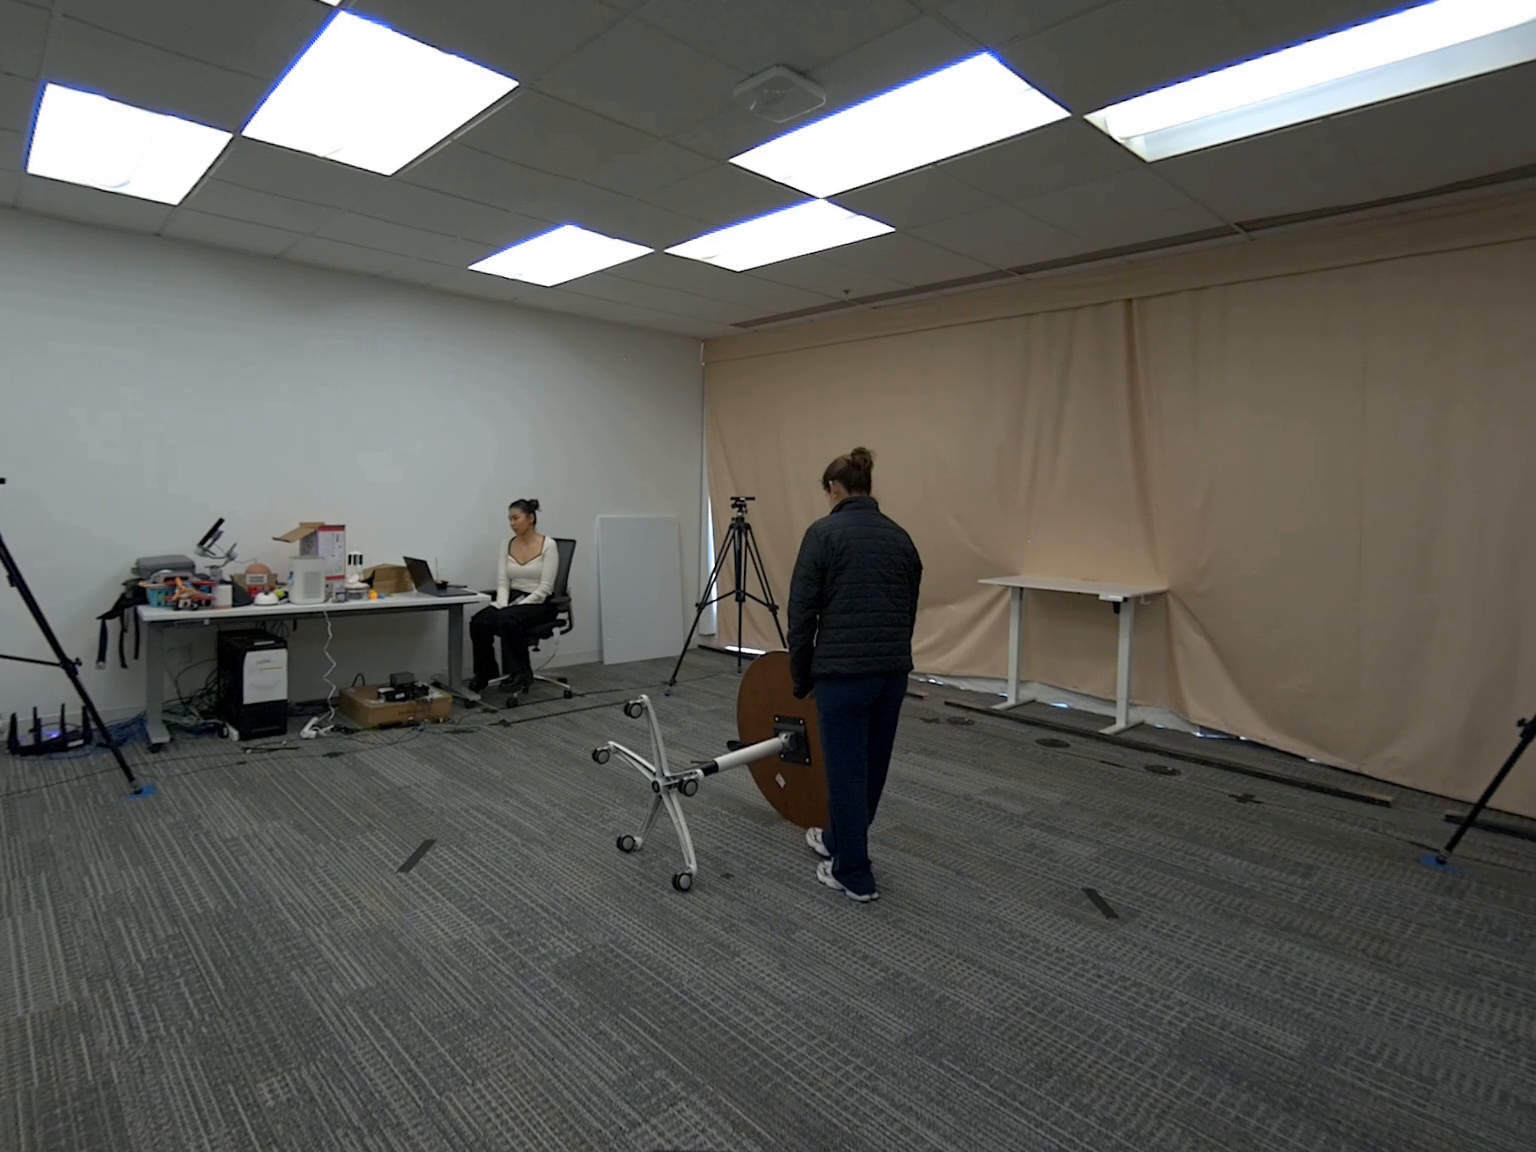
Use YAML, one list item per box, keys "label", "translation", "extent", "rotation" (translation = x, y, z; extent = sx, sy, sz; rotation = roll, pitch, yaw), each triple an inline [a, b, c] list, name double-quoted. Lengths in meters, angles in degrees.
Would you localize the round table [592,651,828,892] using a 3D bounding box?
- label: "round table"
  translation: [-0.190, 0.747, 3.340]
  extent: [0.771, 0.781, 0.805]
  rotation: [-9, 10, -38]
